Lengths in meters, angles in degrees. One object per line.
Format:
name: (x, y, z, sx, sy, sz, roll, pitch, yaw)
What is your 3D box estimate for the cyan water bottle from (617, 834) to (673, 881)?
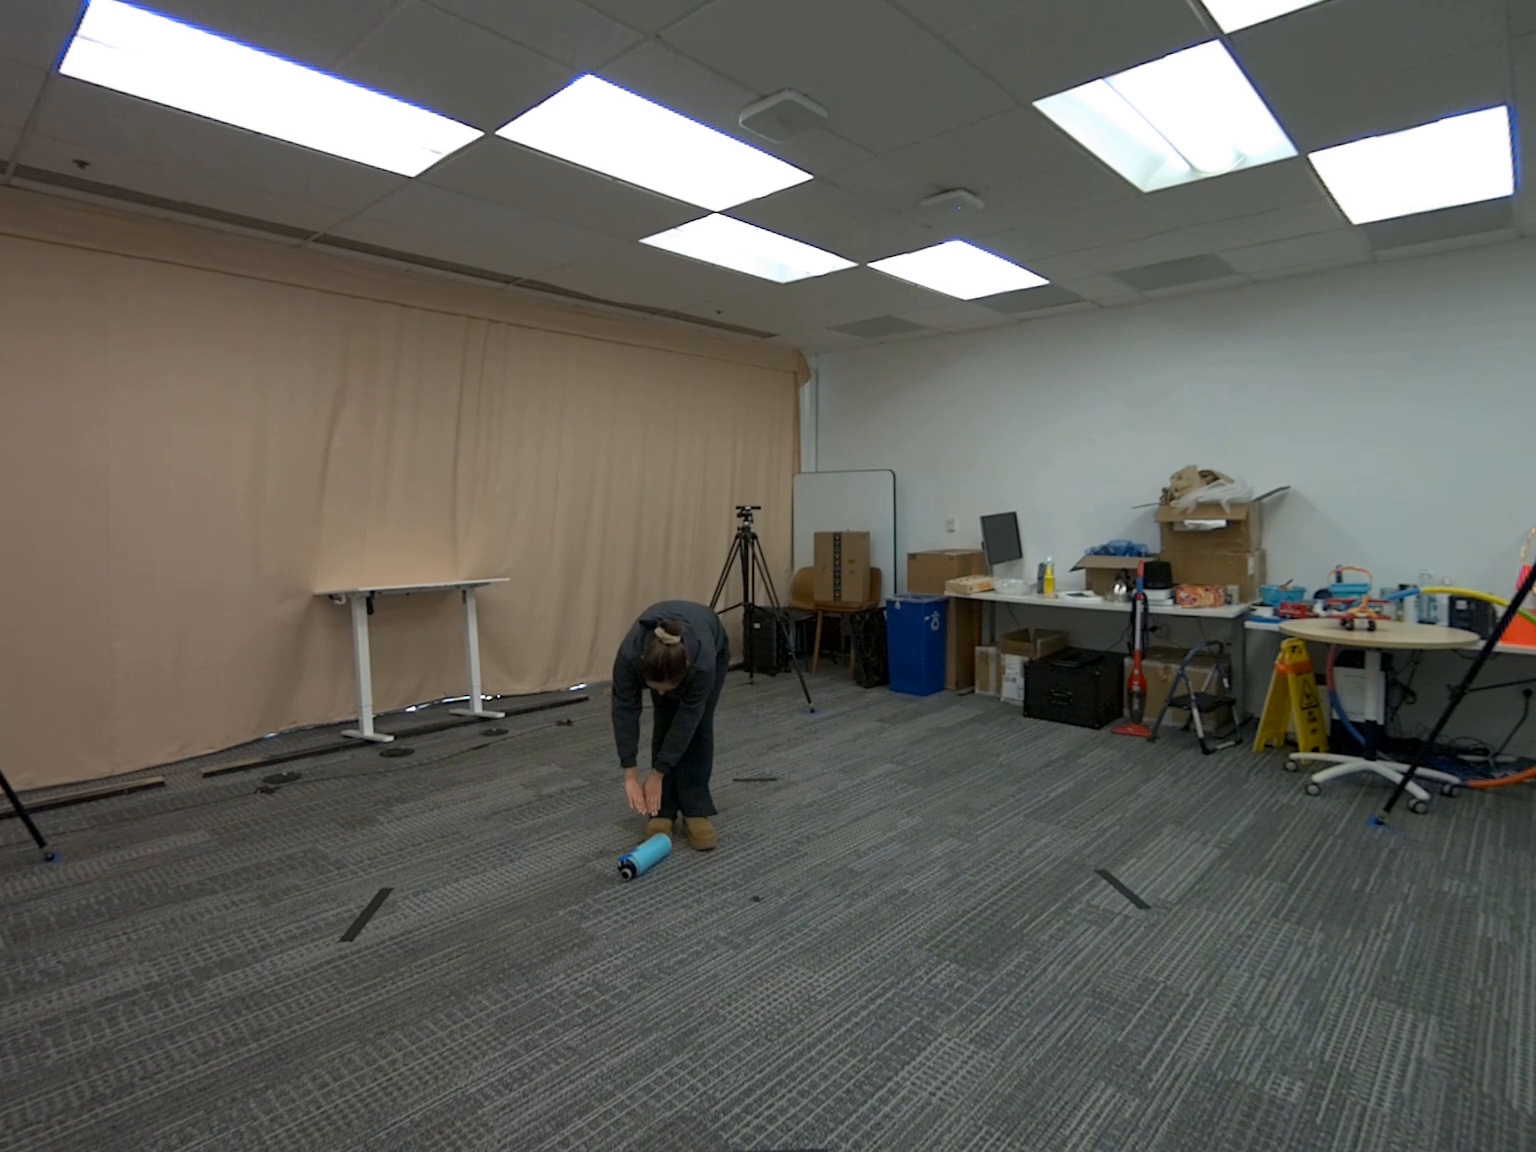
cyan water bottle: (-0.464, 1.077, 3.241, 0.095, 0.092, 0.277, 2, 5, 25)
